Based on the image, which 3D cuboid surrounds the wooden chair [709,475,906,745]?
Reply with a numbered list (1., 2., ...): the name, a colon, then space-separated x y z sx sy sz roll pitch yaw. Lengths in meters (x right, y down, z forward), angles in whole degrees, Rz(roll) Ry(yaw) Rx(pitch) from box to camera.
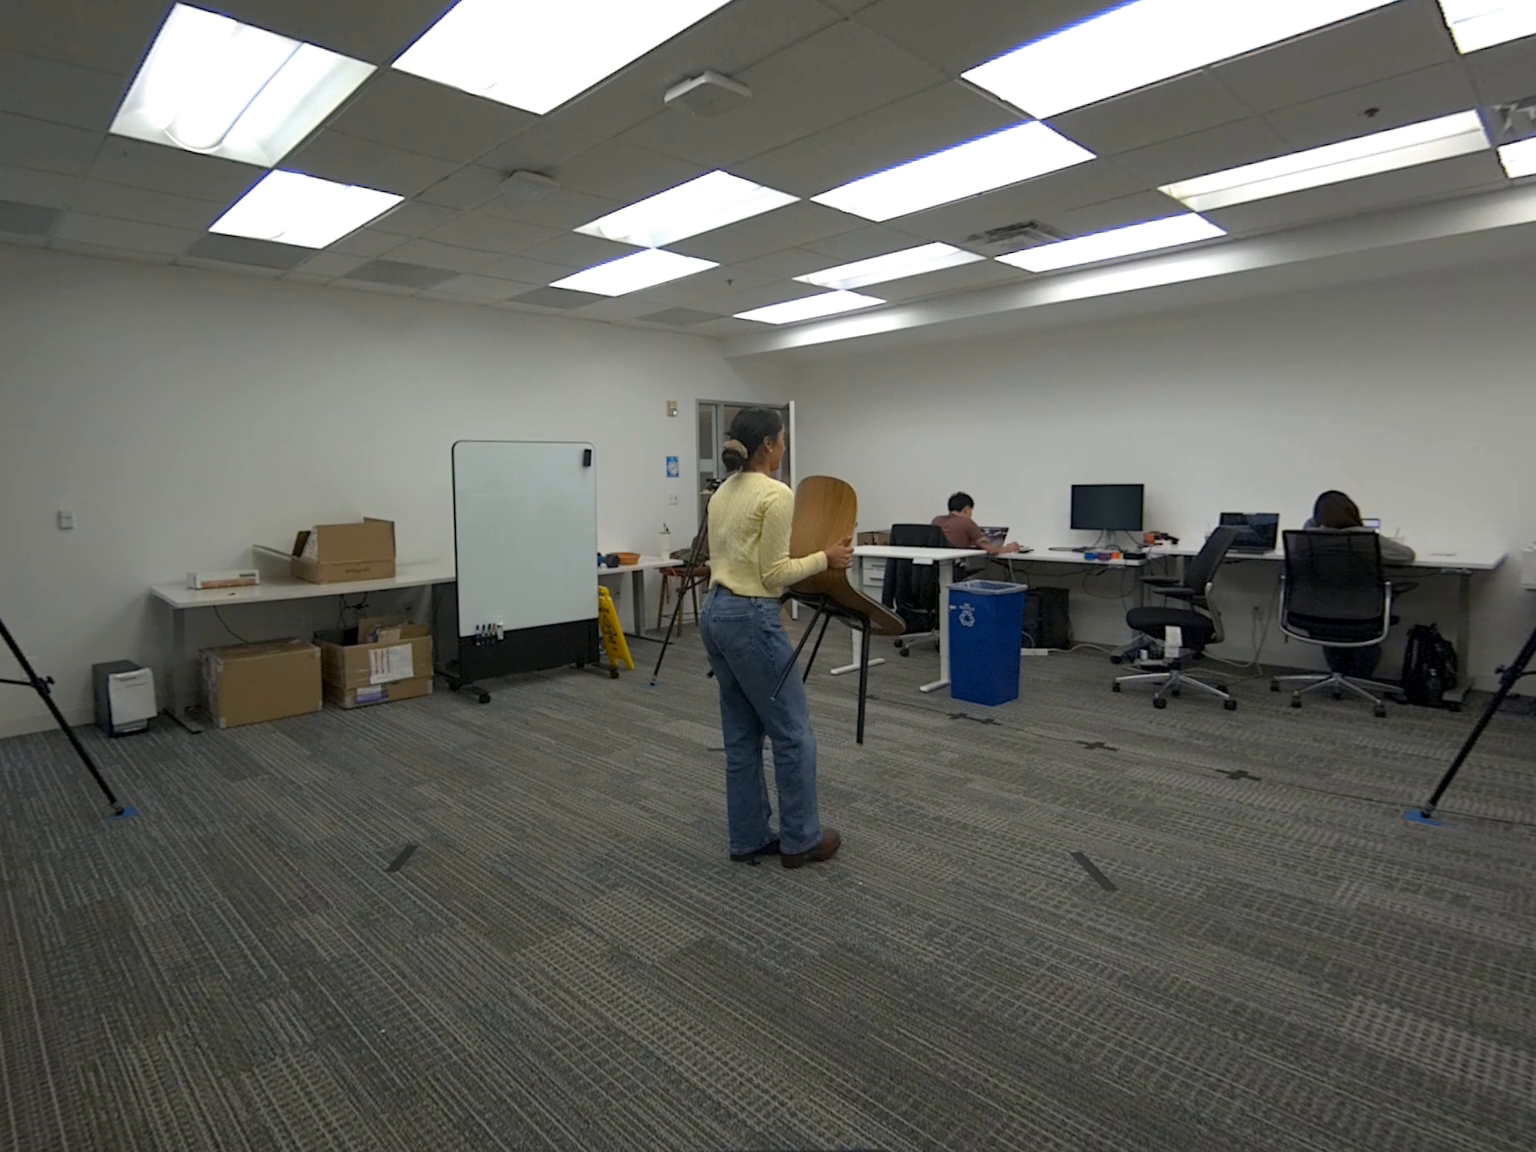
1. wooden chair: 0.231 0.122 3.285 0.506 0.882 0.491 27 -12 -31
